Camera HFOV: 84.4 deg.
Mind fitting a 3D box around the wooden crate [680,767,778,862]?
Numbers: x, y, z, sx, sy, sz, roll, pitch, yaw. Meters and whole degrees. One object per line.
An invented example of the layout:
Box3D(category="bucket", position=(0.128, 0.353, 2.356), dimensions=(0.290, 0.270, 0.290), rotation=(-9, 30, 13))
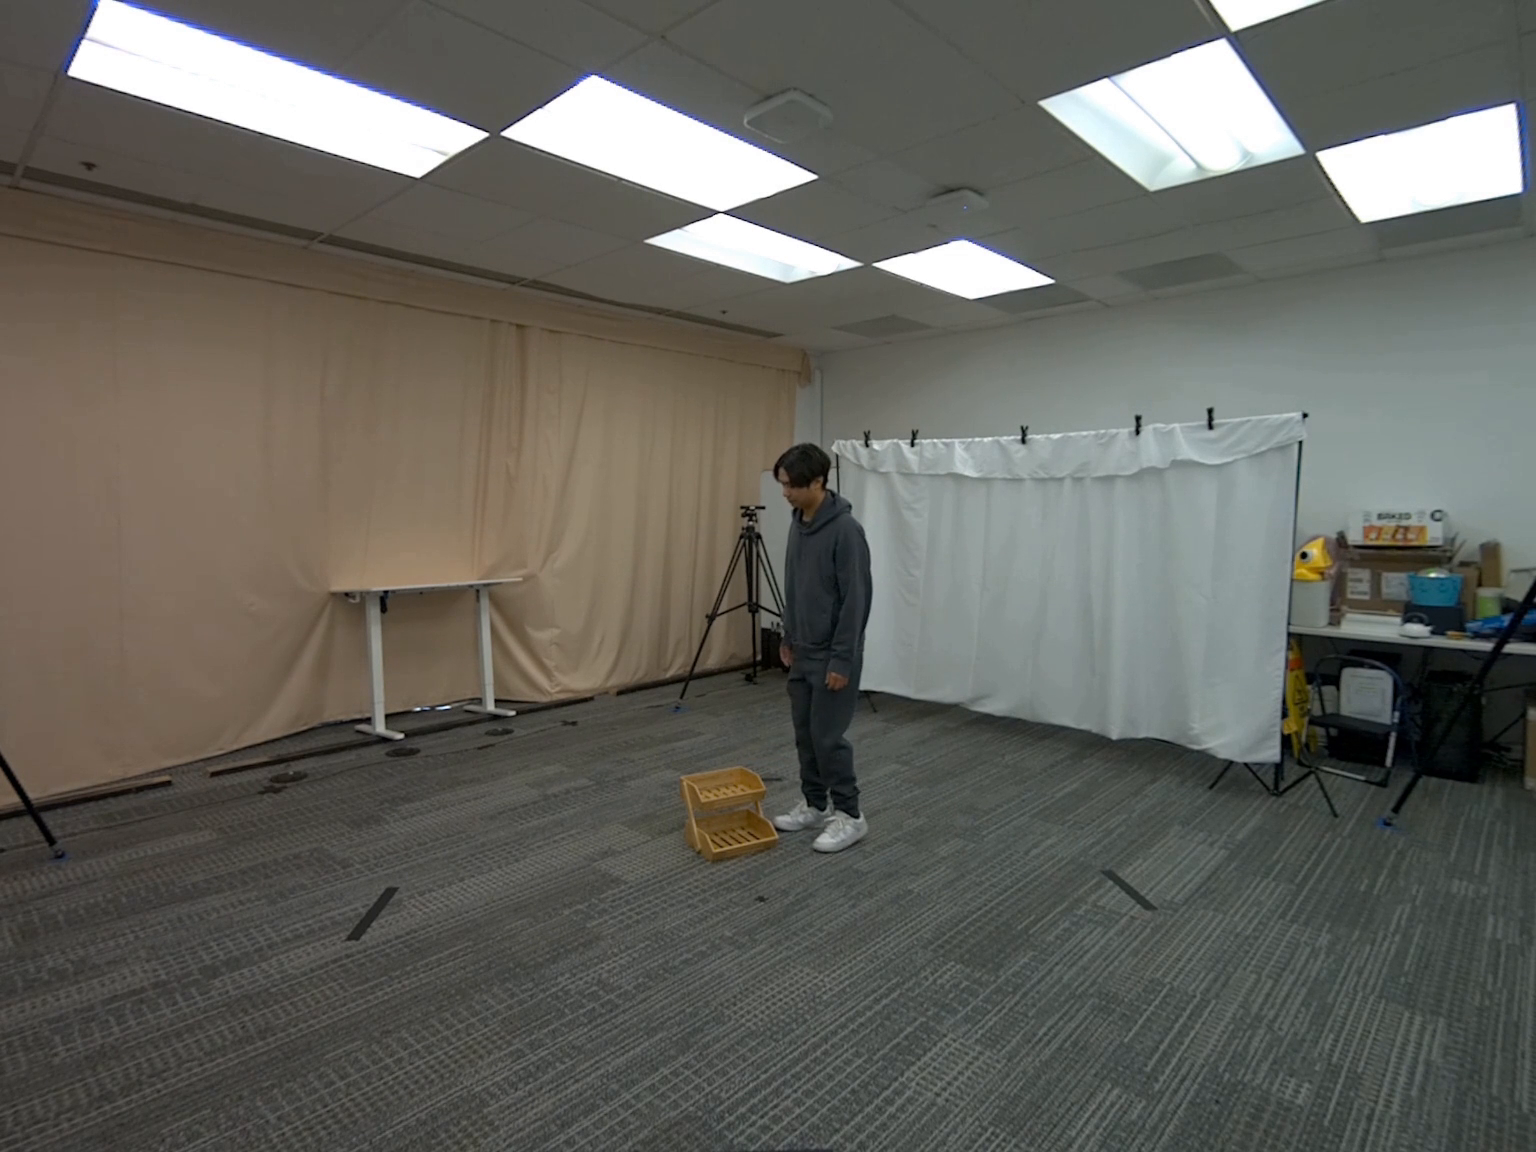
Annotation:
Box3D(category="wooden crate", position=(-0.158, 0.966, 3.468), dimensions=(0.316, 0.273, 0.311), rotation=(-2, 3, -30))
